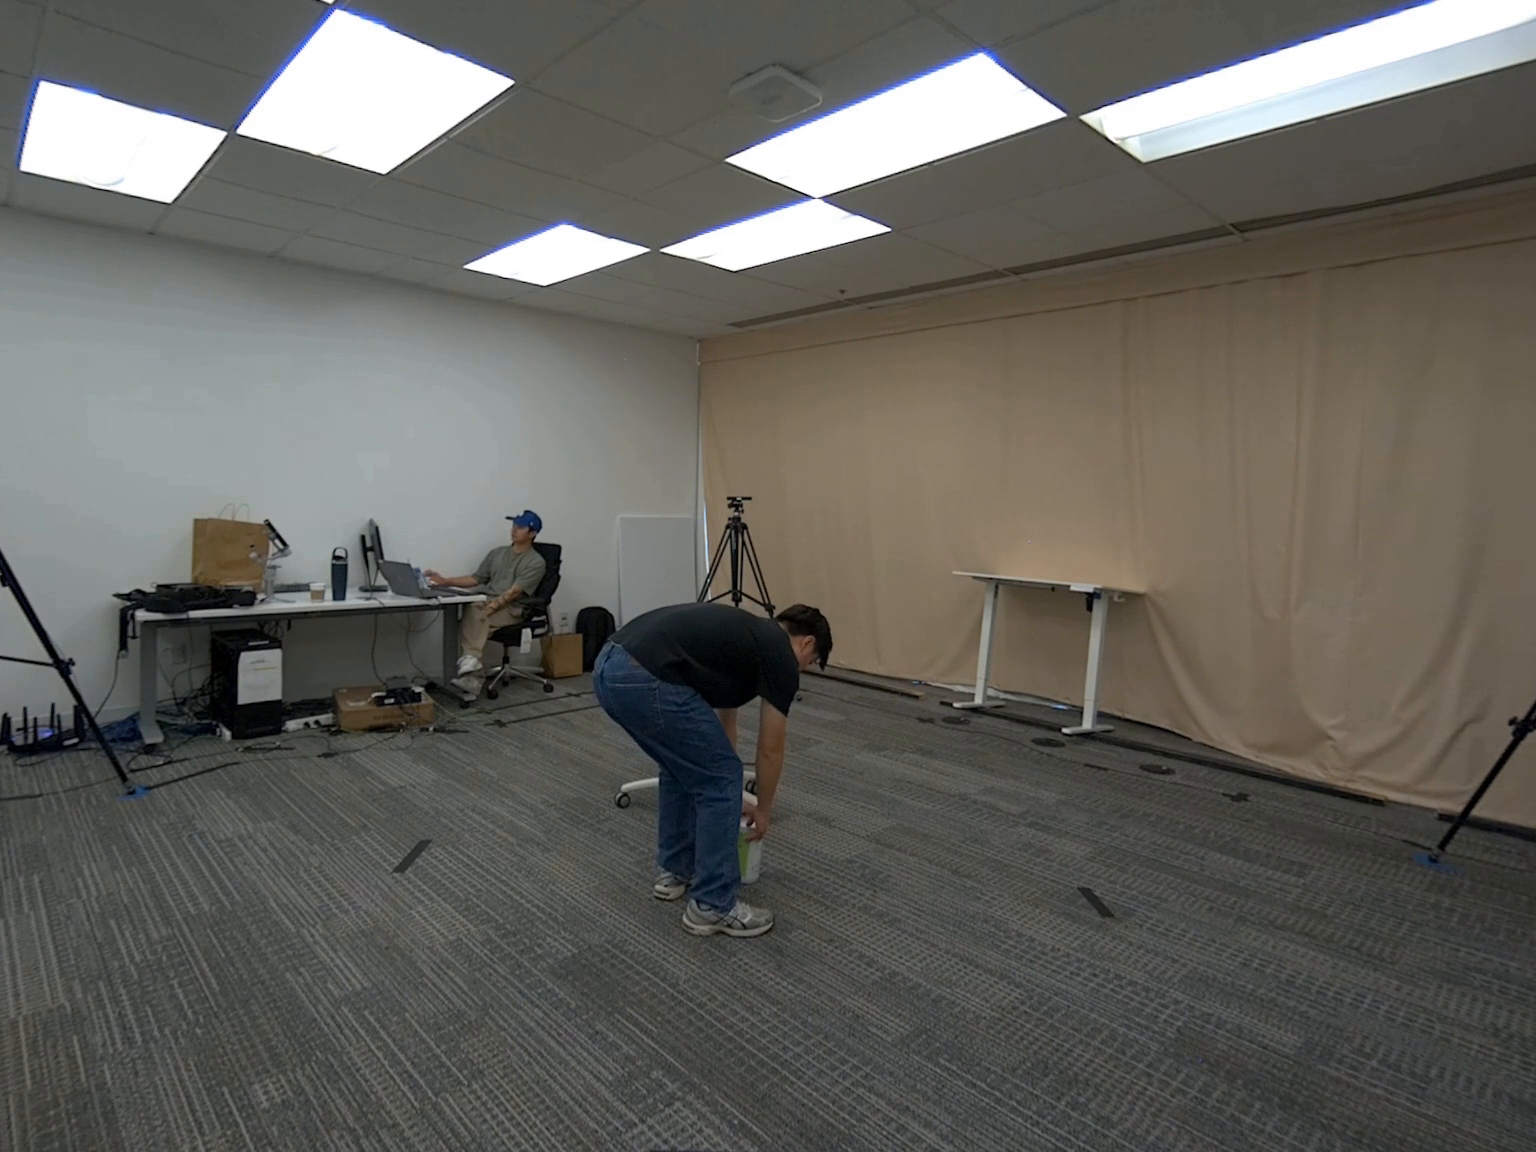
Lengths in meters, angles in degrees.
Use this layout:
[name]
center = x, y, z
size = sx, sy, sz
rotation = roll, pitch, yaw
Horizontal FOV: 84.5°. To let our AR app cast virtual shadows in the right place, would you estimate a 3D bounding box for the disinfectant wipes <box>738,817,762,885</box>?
[disinfectant wipes]
center = -0.090, 1.007, 3.073
size = 0.117, 0.216, 0.118
rotation = 11, 7, -3
